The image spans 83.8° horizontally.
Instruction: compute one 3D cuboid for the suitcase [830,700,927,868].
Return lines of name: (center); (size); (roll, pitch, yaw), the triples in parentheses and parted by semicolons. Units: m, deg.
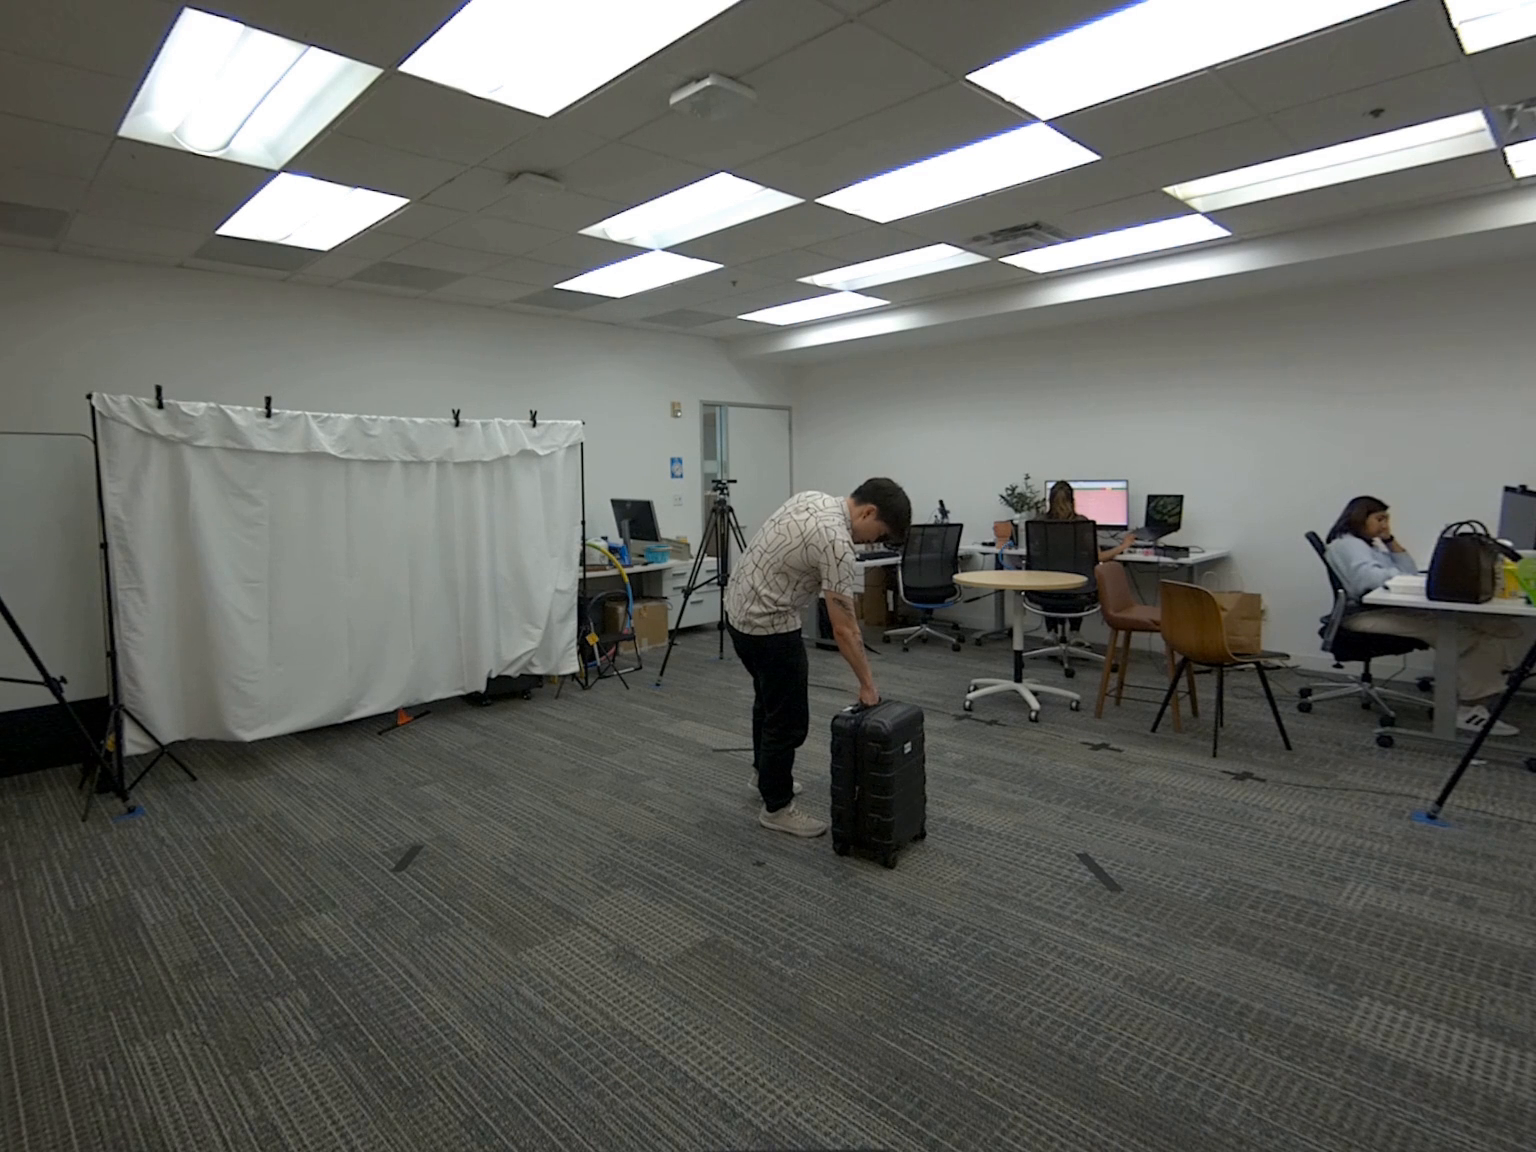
suitcase: (0.421, 0.751, 3.207); (0.255, 0.547, 0.366); (2, 6, 36)
